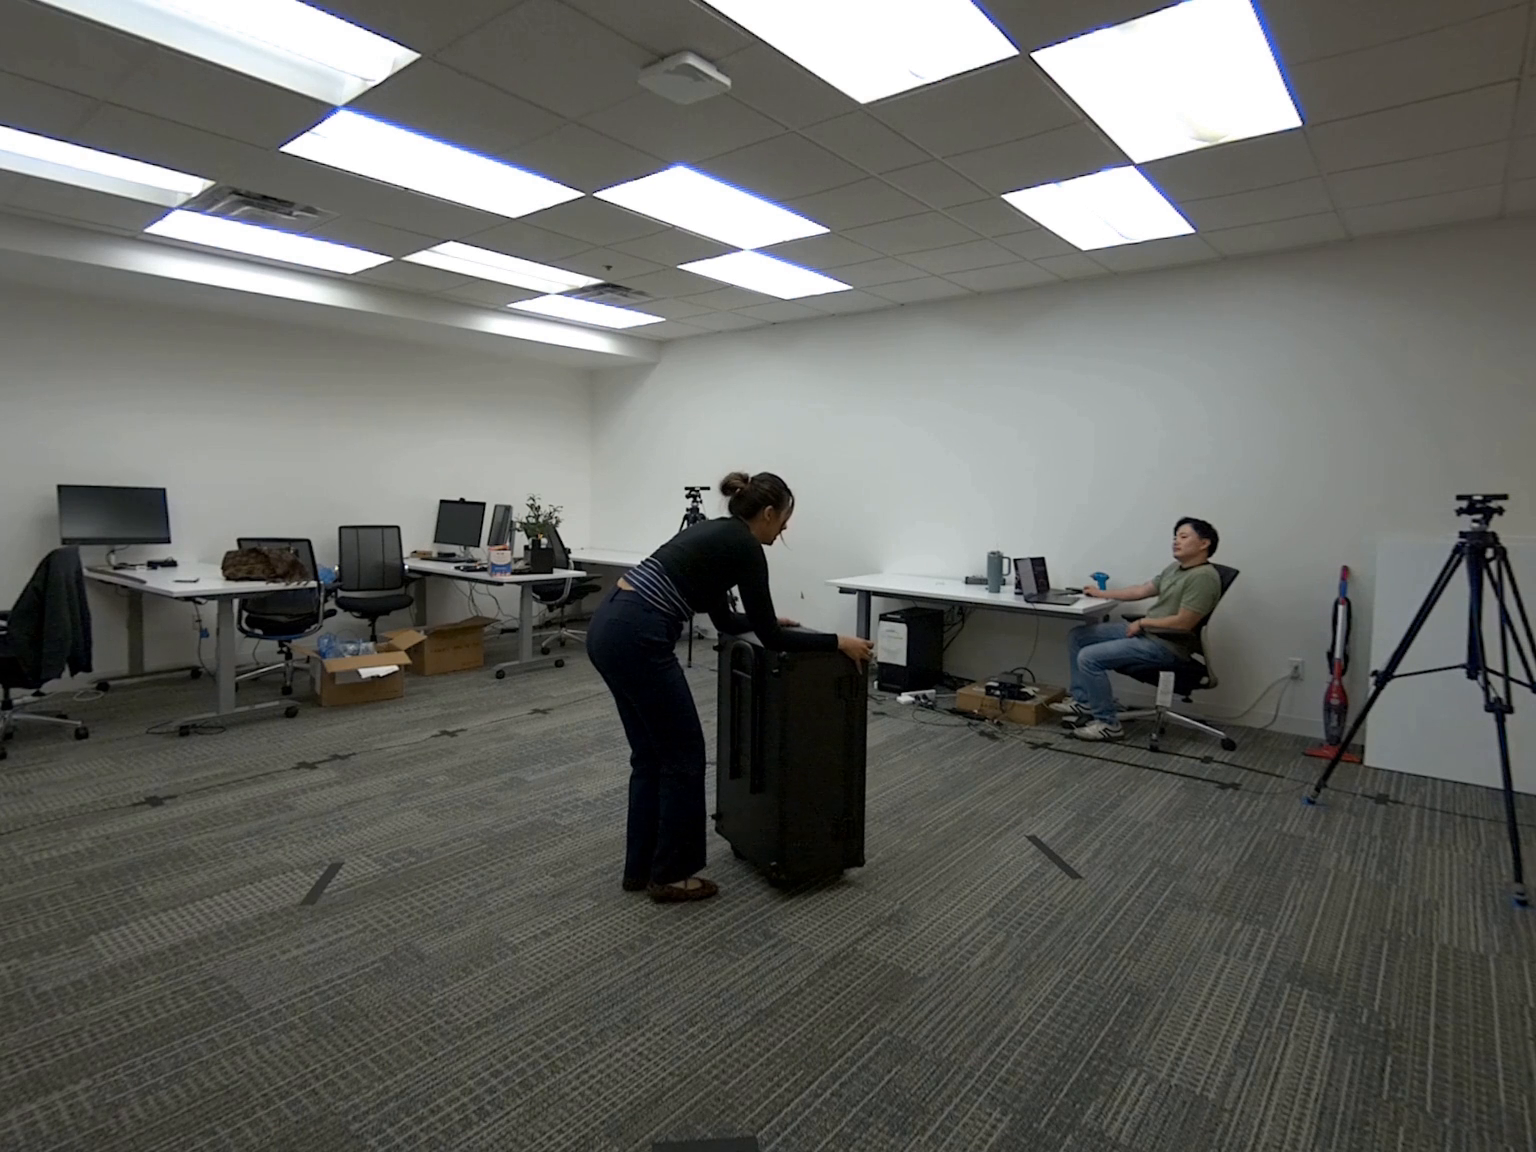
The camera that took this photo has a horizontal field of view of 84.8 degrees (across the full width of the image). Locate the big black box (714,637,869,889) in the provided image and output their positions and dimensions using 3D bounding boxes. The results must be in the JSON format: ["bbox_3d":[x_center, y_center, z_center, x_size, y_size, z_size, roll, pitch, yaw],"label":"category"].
[{"bbox_3d":[0.061,0.645,3.098,0.386,0.858,0.537,-2,5,-29],"label":"big black box"}]
